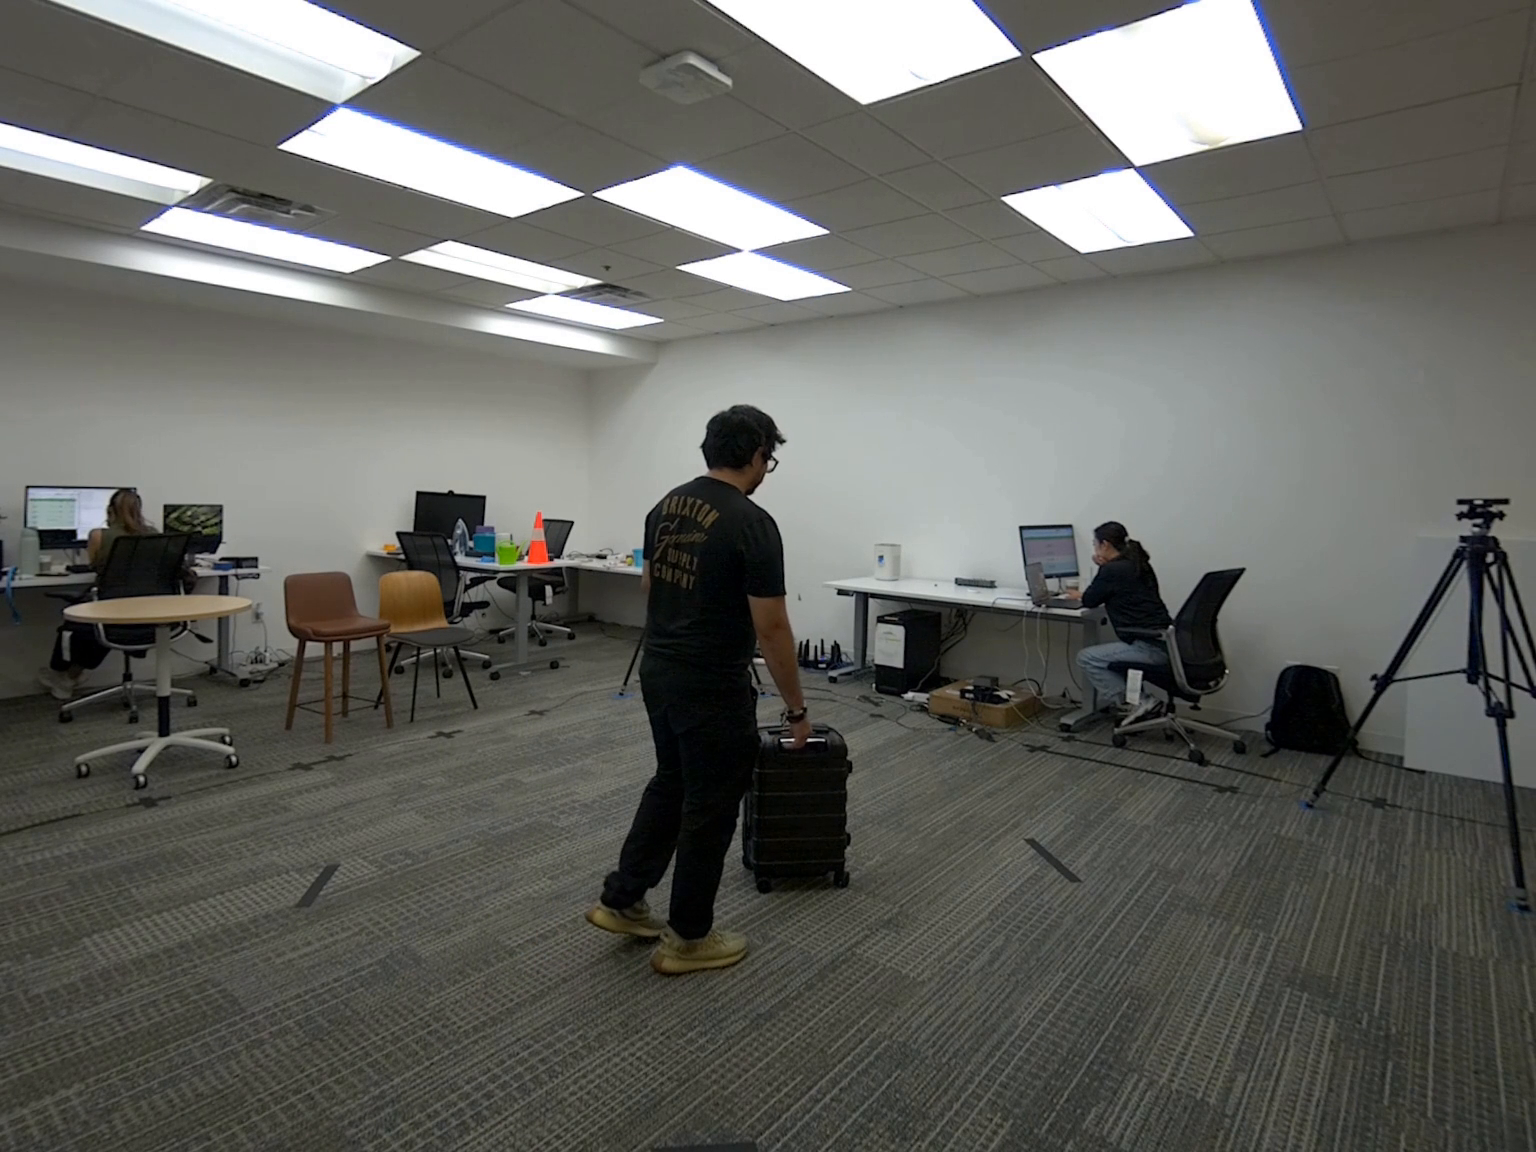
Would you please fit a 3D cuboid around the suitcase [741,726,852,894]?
[{"bbox_3d":[0.089,0.803,3.054,0.371,0.548,0.252,0,3,-10],"label":"suitcase"}]
